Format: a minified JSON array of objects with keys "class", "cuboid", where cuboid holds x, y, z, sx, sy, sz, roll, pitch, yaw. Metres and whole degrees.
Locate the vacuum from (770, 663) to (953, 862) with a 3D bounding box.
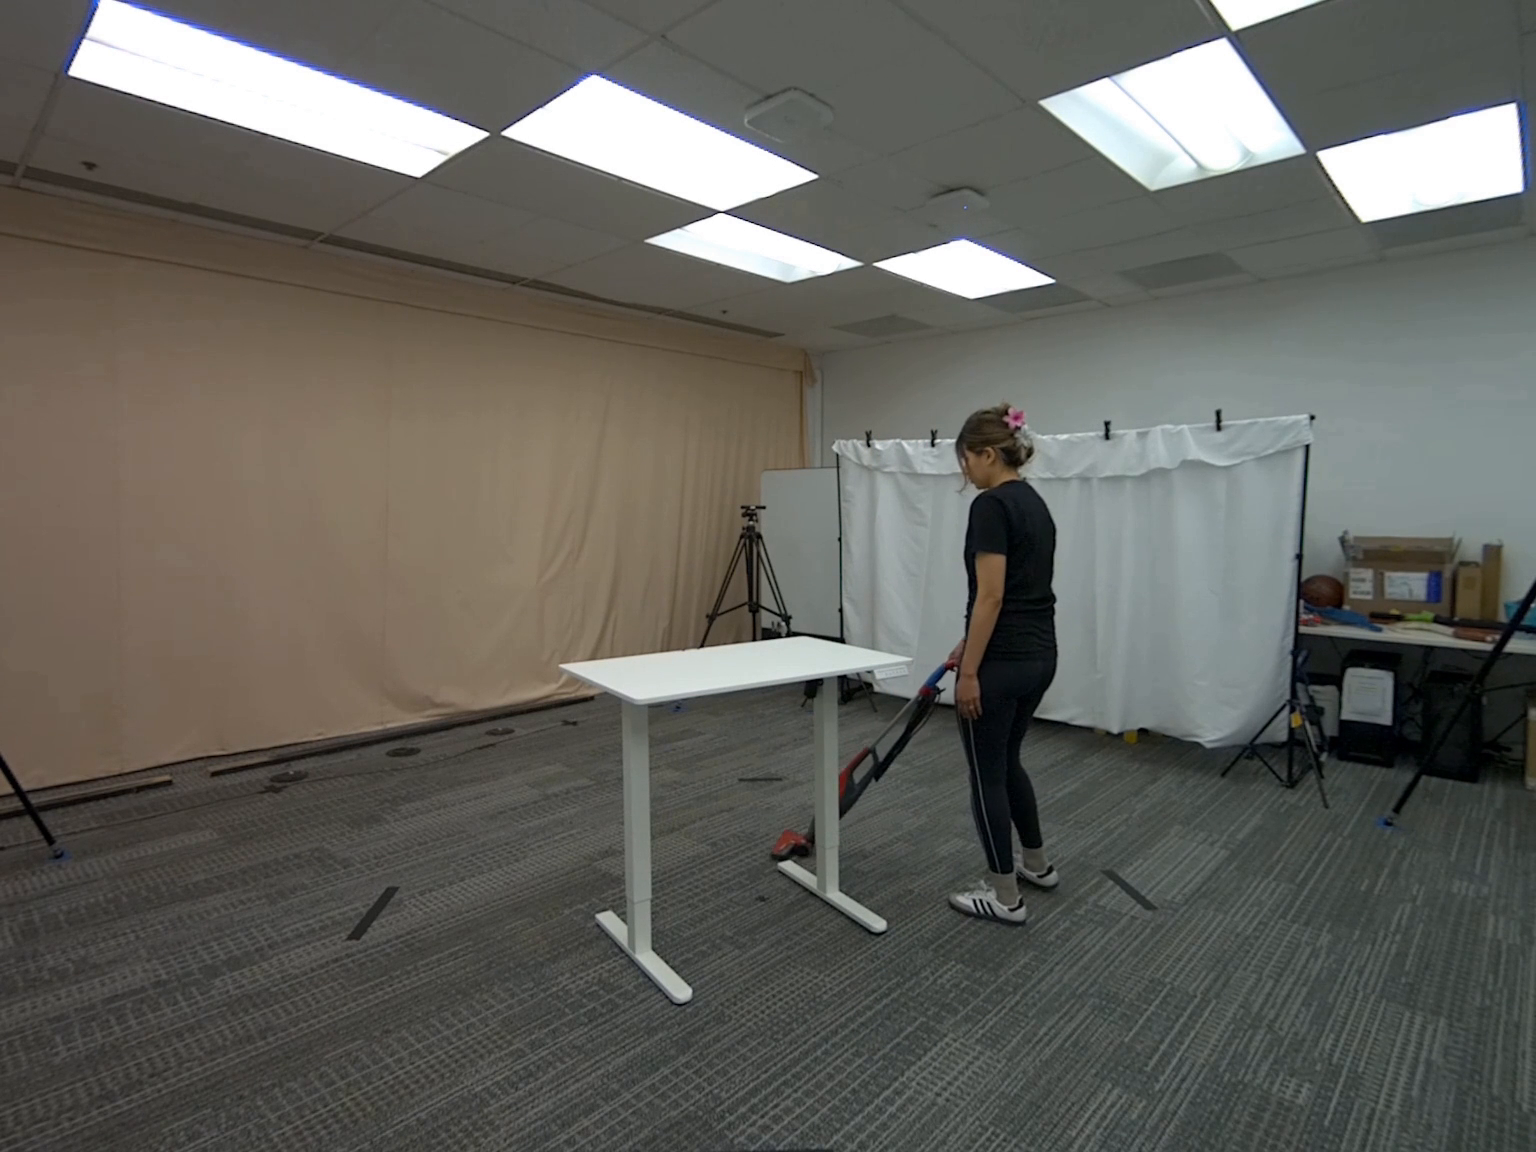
[{"class":"vacuum","cuboid":[0.434,0.697,3.277,0.147,1.052,0.247,43,14,16]}]
